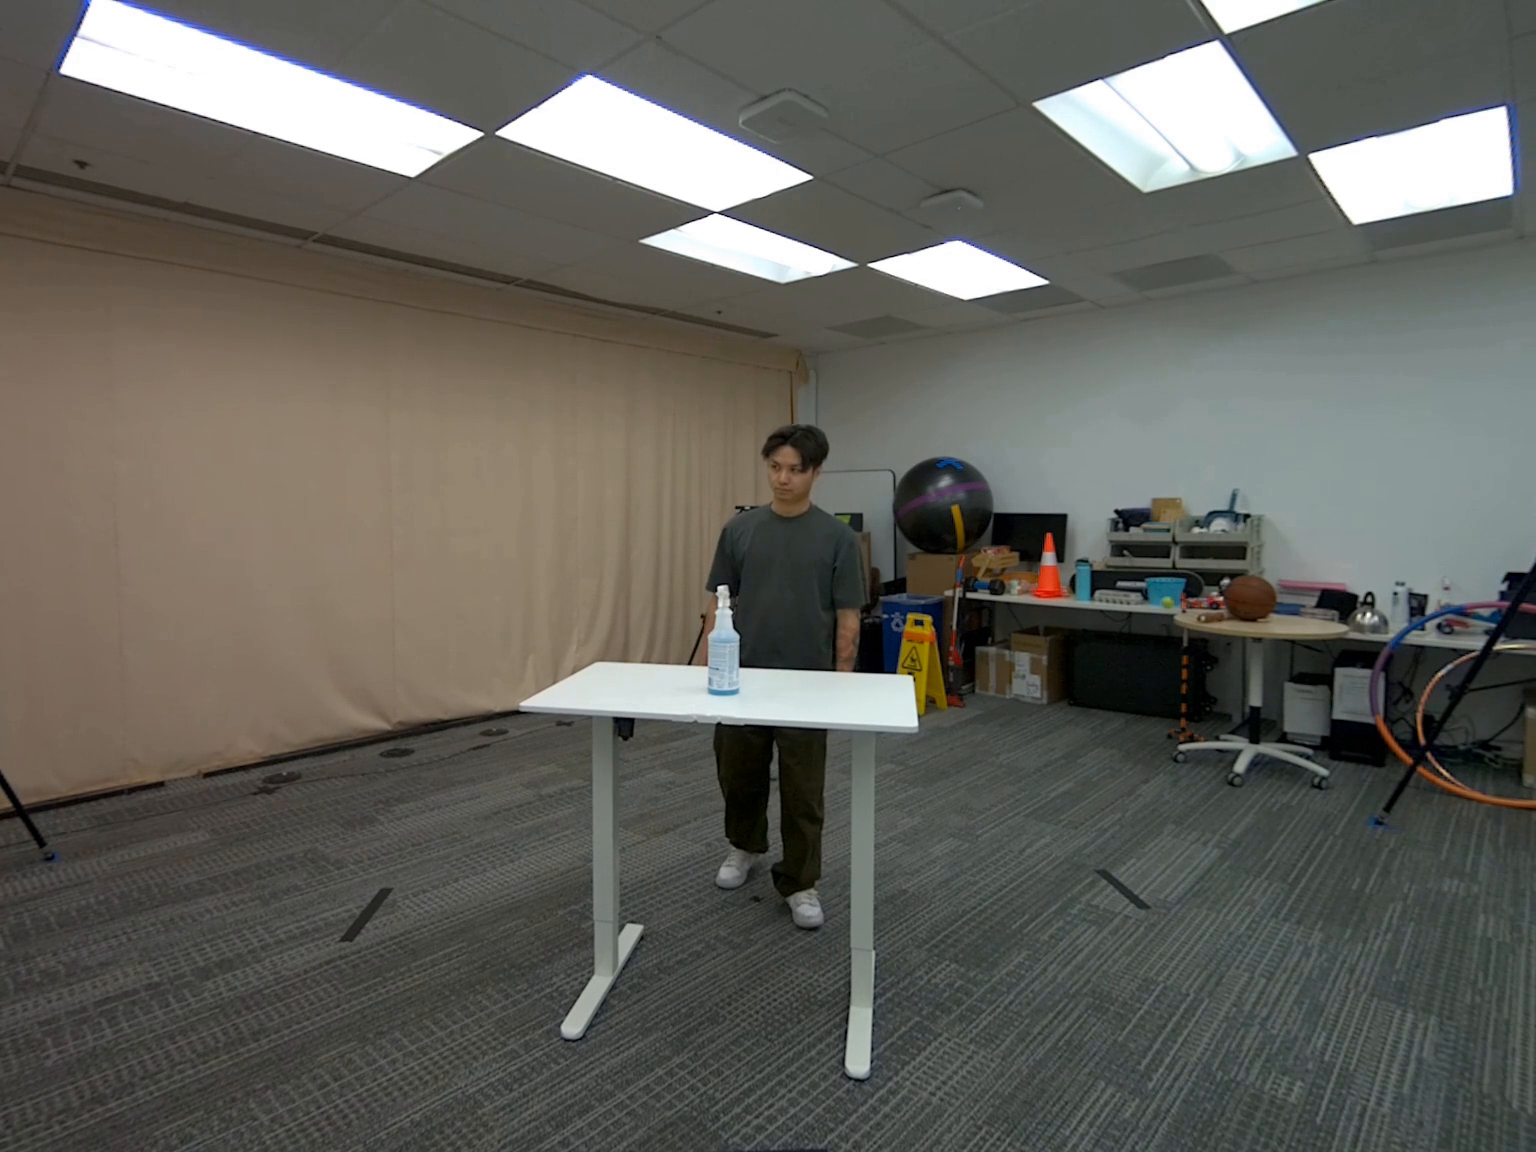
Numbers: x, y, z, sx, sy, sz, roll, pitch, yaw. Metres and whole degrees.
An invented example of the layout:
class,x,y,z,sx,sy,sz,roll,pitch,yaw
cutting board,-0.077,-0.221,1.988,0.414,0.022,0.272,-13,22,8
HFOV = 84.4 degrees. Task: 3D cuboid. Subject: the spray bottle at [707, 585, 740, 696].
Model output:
class,x,y,z,sx,sy,sz,roll,pitch,yaw
spray bottle,-0.122,0.174,2.301,0.090,0.297,0.087,6,5,35
